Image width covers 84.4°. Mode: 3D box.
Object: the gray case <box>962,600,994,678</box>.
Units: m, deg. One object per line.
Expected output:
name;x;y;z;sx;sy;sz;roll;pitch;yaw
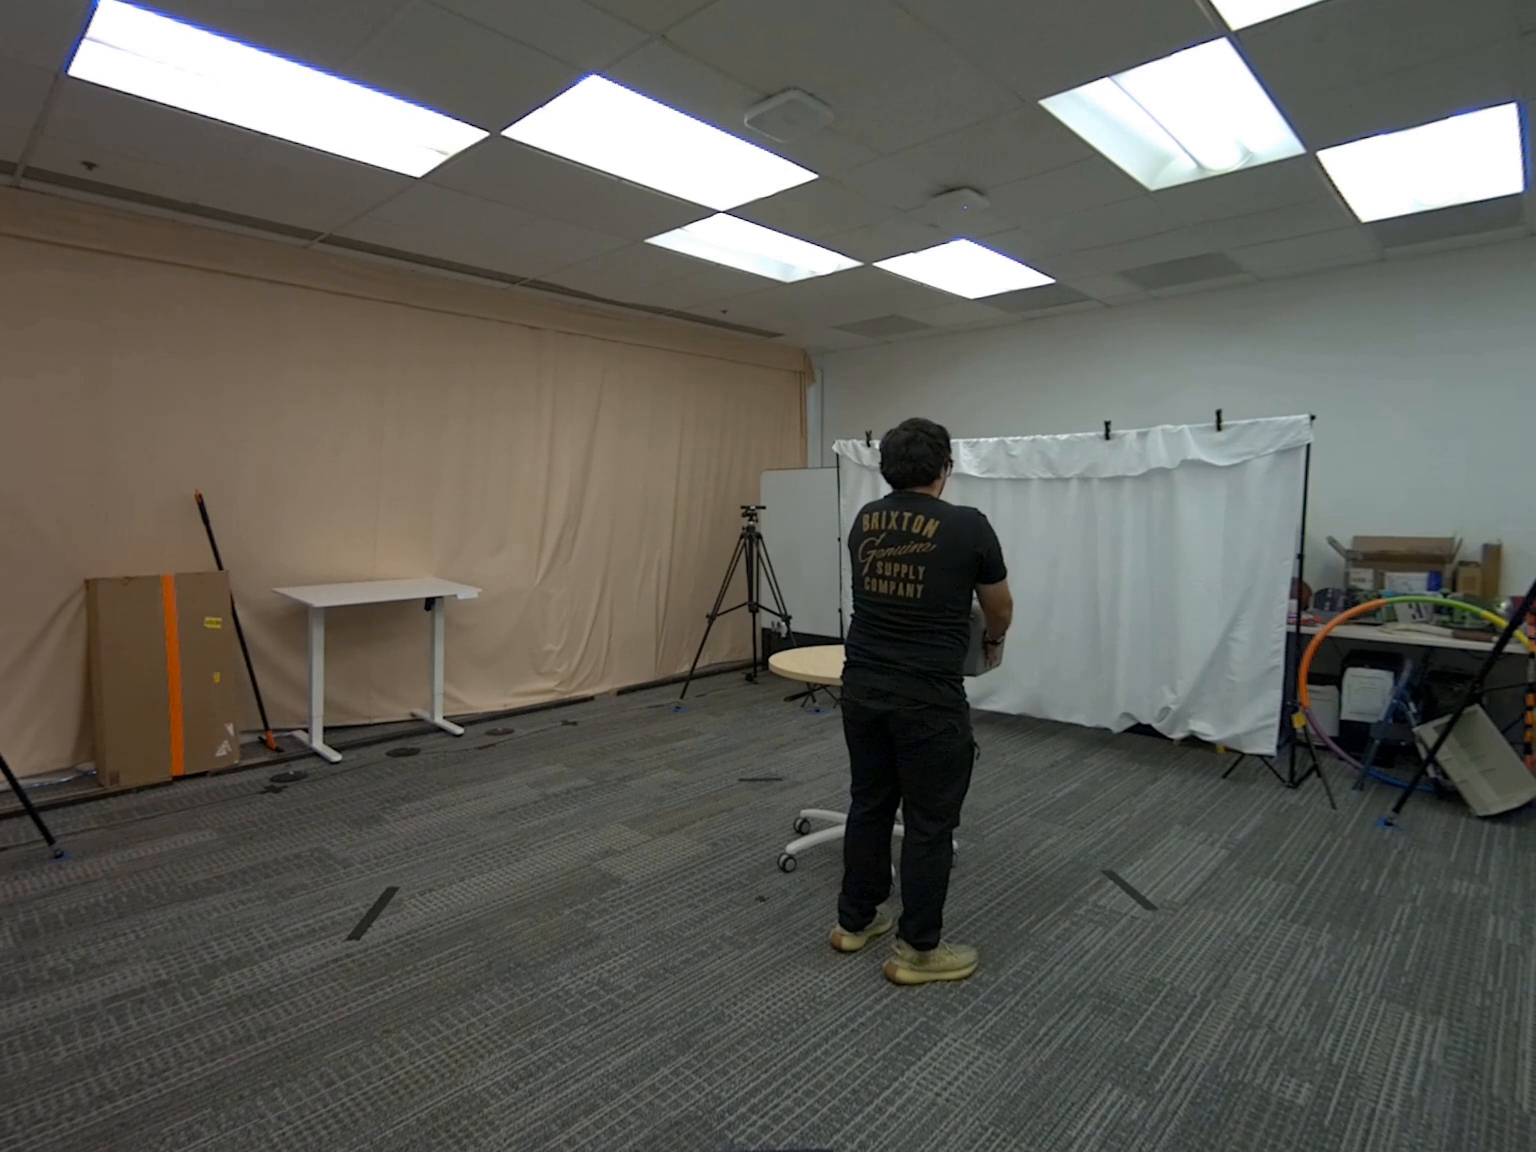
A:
gray case;0.725;0.194;2.848;0.107;0.259;0.250;10;11;31
